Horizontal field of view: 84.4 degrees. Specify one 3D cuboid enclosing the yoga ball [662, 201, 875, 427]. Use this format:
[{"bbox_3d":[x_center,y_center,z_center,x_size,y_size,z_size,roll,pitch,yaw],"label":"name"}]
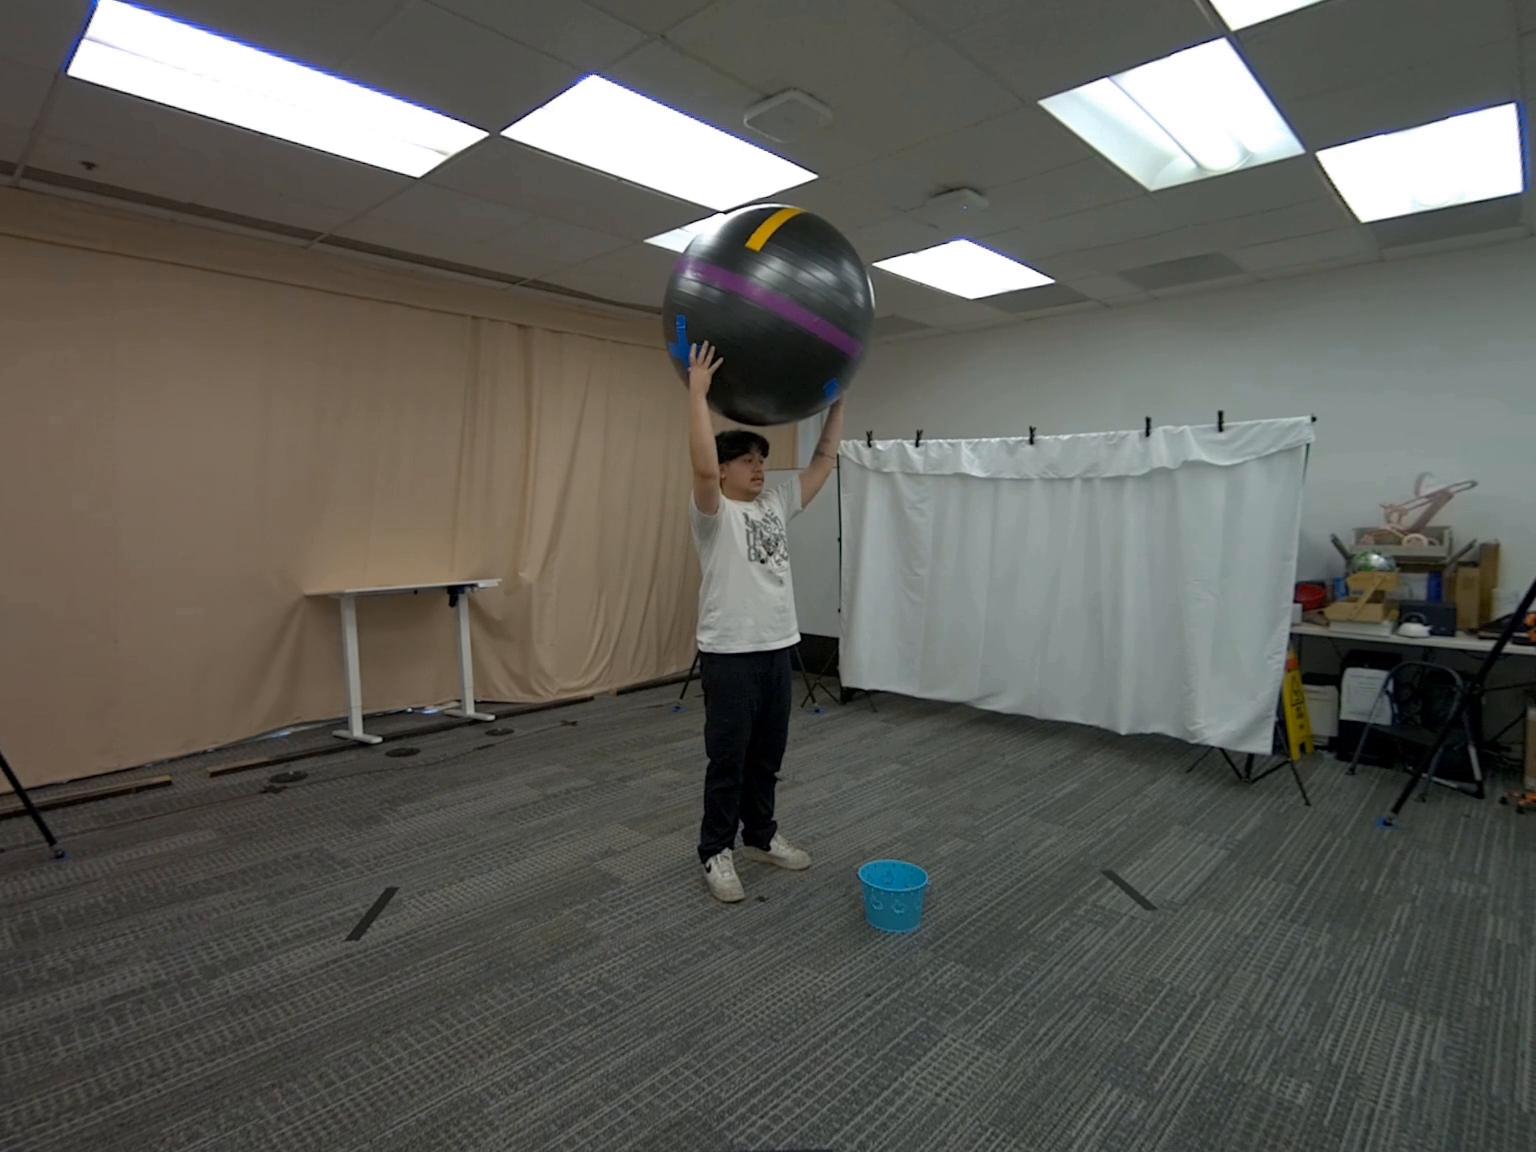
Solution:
[{"bbox_3d":[0.004,-0.918,3.012,0.757,0.756,0.760,0,4,-2],"label":"yoga ball"}]
